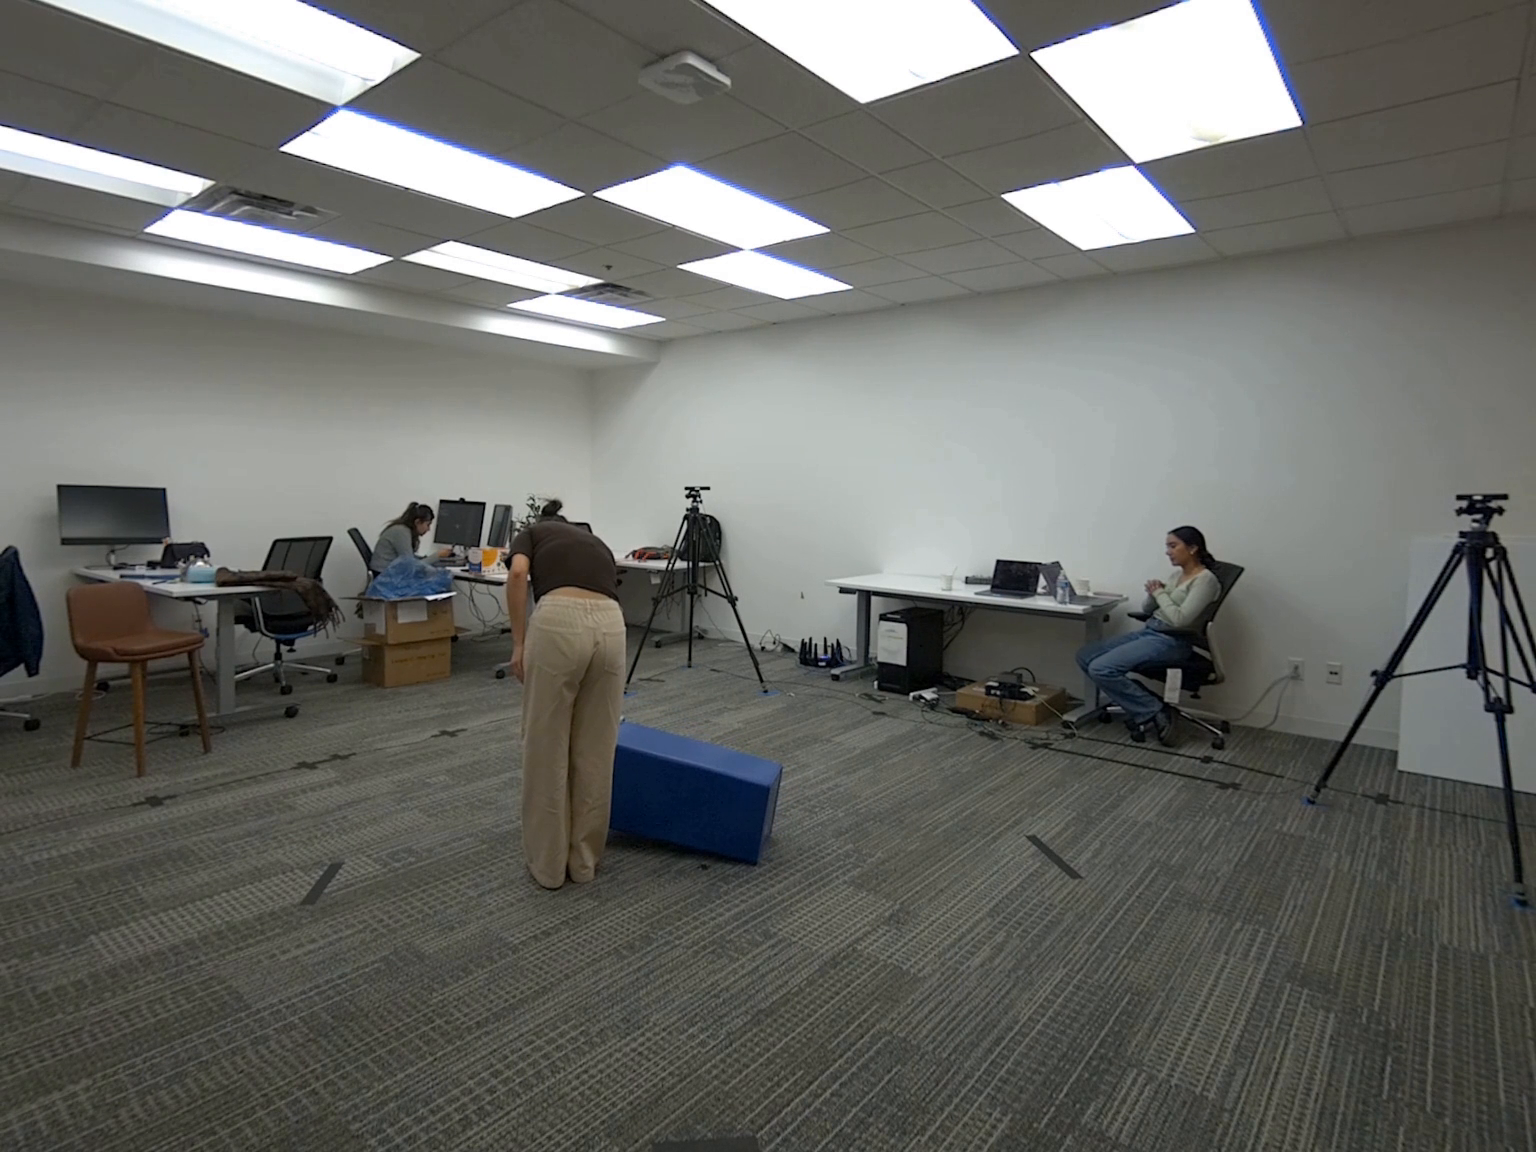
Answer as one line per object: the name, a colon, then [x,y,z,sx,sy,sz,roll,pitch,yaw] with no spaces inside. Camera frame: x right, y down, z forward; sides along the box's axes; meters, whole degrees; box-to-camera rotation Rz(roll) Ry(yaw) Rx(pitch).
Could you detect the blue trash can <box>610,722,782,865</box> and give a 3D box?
blue trash can: [-0.341,0.842,3.343,0.727,0.373,0.372,10,4,15]
